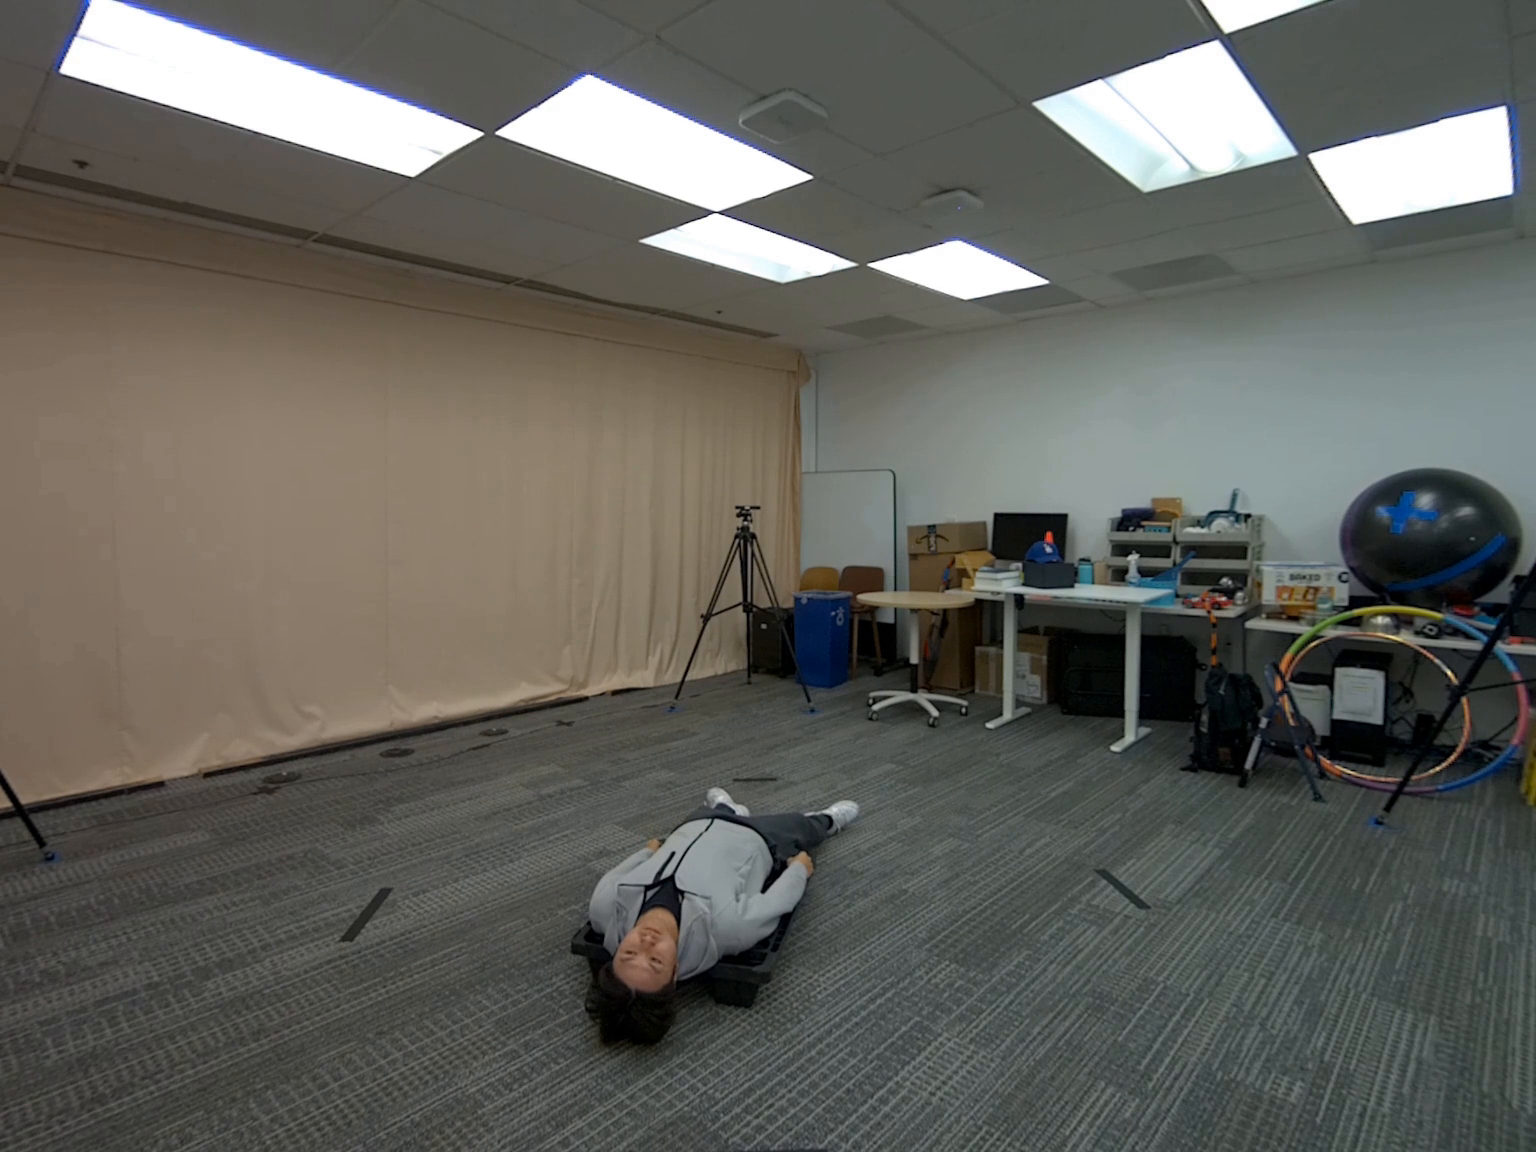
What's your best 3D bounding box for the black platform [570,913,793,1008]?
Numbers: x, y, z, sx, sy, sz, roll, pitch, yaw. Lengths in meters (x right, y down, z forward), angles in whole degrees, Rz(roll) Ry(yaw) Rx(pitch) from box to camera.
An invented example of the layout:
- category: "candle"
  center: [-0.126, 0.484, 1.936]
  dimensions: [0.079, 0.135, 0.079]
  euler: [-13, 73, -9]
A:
- category: "black platform"
  center: [-0.196, 1.080, 2.735]
  dimensions: [0.616, 0.143, 0.794]
  euler: [5, 7, 15]
